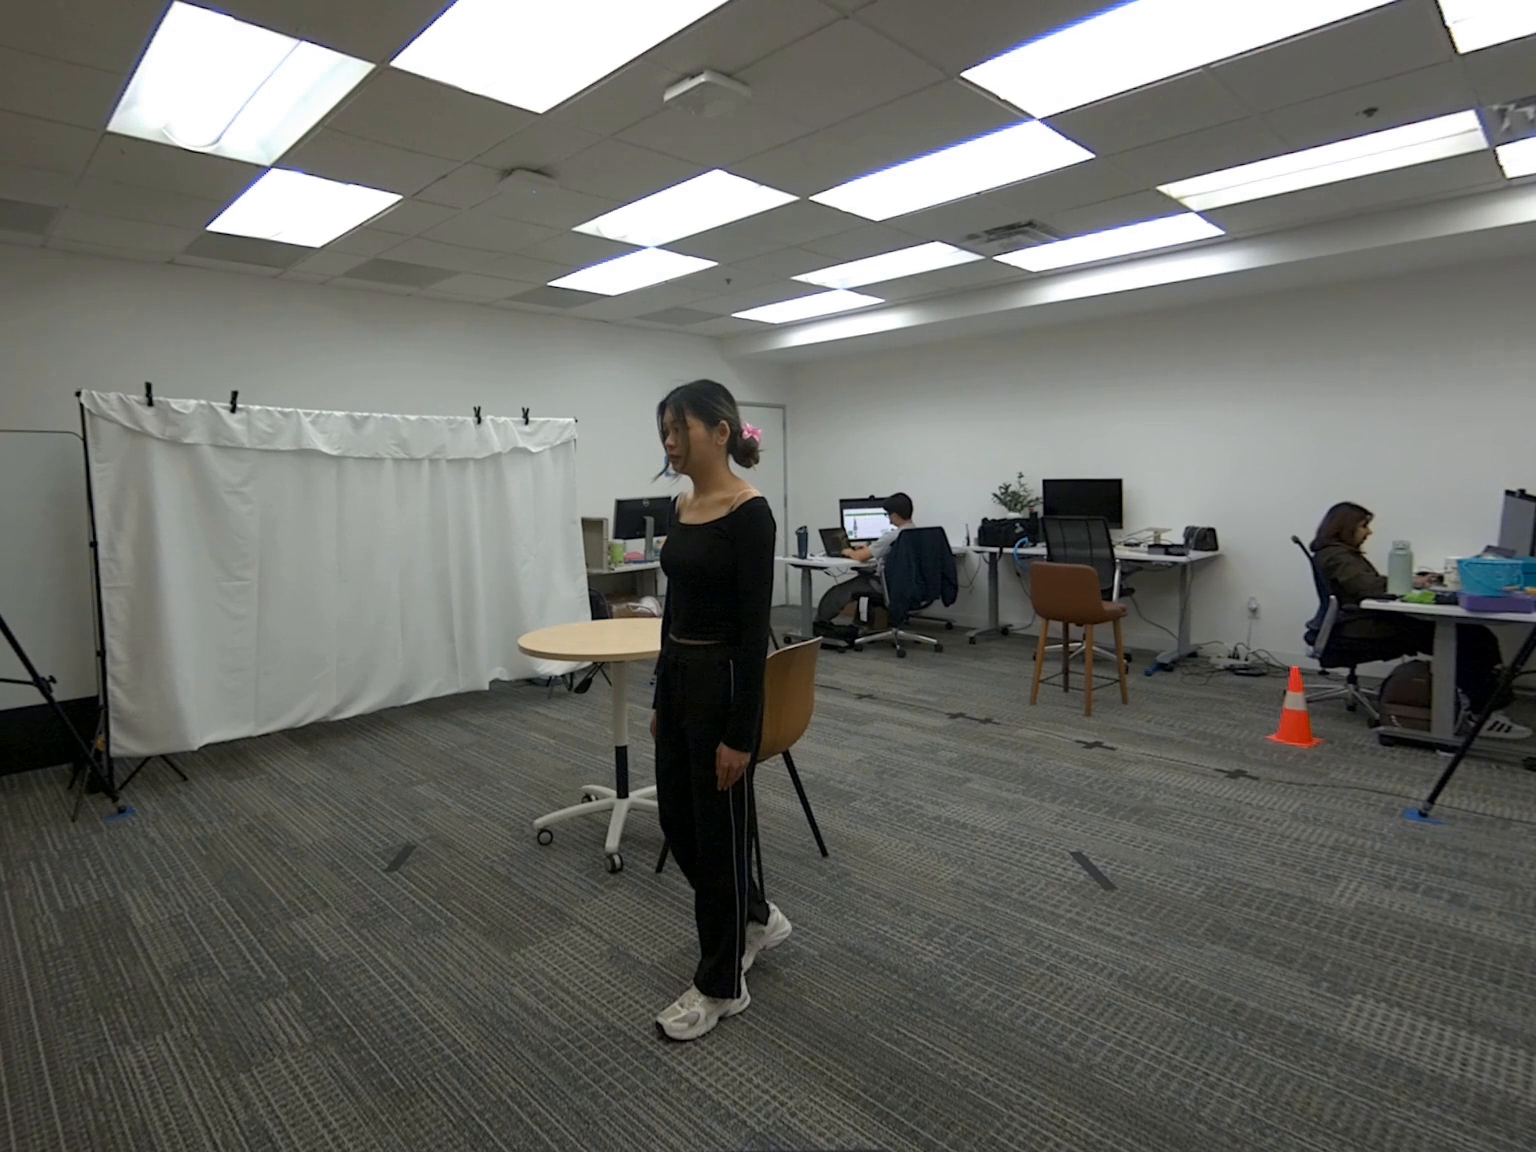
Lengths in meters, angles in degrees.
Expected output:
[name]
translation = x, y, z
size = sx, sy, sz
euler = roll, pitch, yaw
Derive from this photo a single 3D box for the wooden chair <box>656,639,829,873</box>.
[wooden chair]
translation = -0.098, 0.620, 3.064
size = 0.539, 0.872, 0.467
euler = 7, 8, 33
